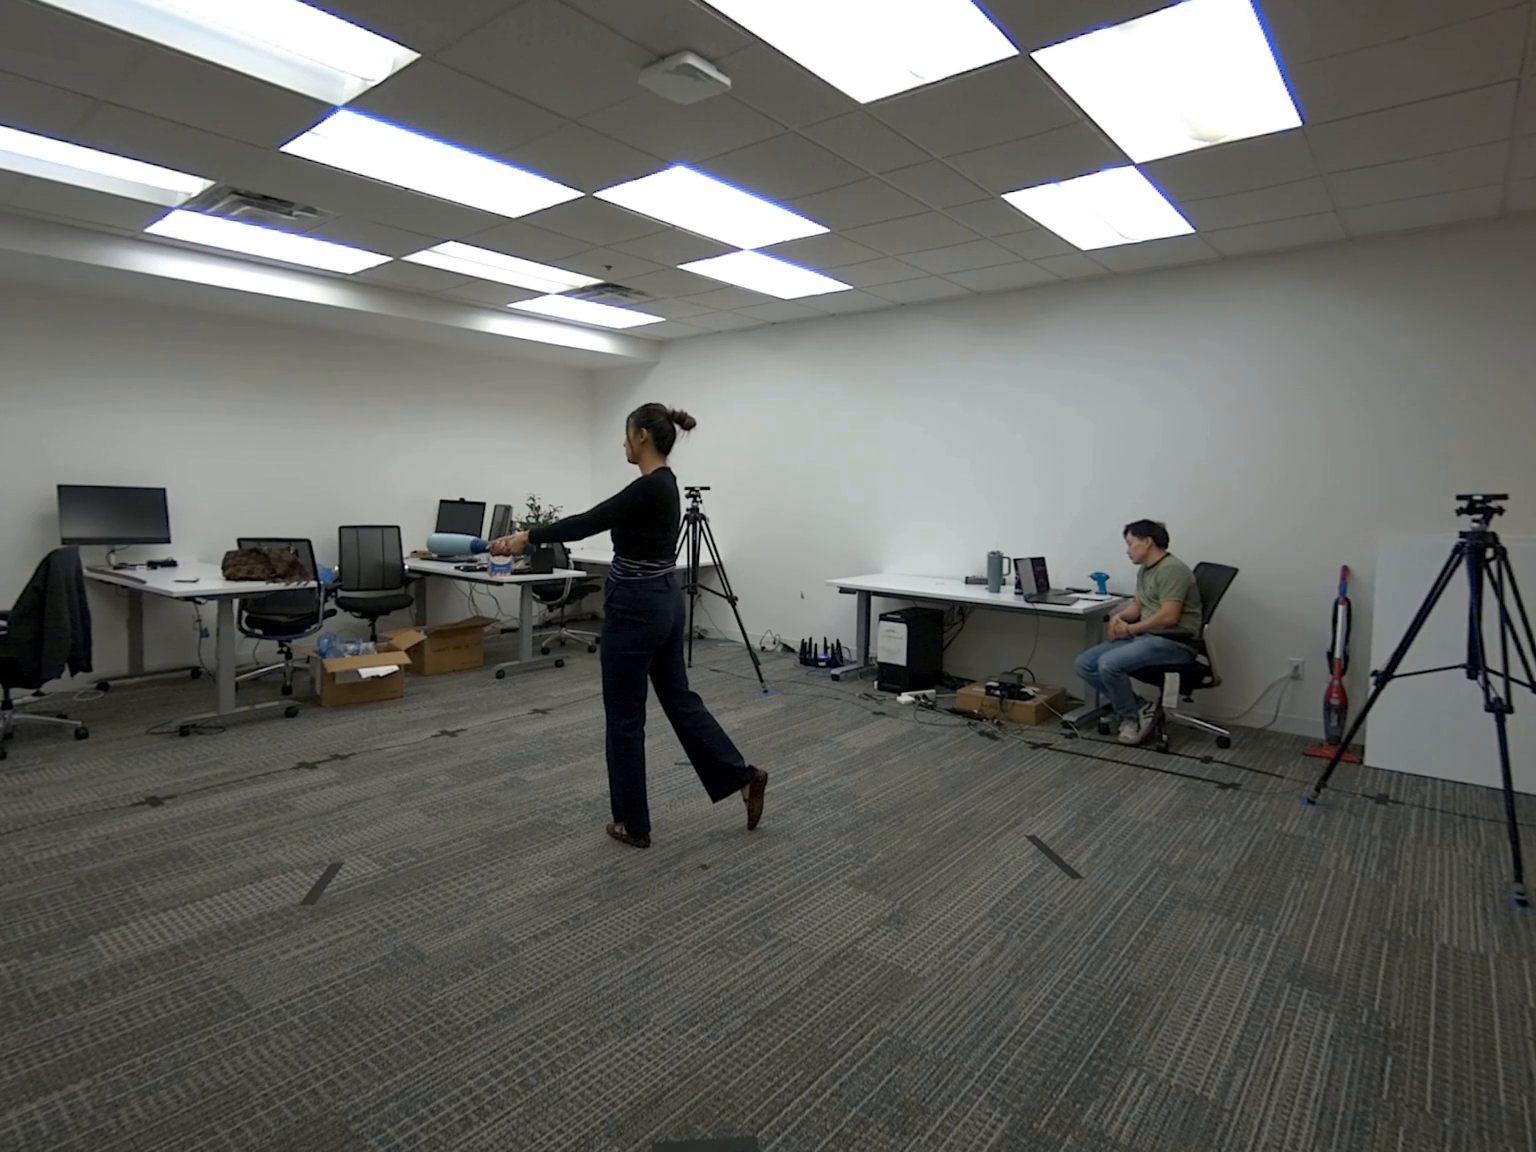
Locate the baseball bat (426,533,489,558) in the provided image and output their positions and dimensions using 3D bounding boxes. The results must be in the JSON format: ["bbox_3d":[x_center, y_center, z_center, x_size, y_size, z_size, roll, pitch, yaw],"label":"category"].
[{"bbox_3d":[-1.149,-0.113,3.382,0.559,0.089,0.087,5,5,29],"label":"baseball bat"}]
